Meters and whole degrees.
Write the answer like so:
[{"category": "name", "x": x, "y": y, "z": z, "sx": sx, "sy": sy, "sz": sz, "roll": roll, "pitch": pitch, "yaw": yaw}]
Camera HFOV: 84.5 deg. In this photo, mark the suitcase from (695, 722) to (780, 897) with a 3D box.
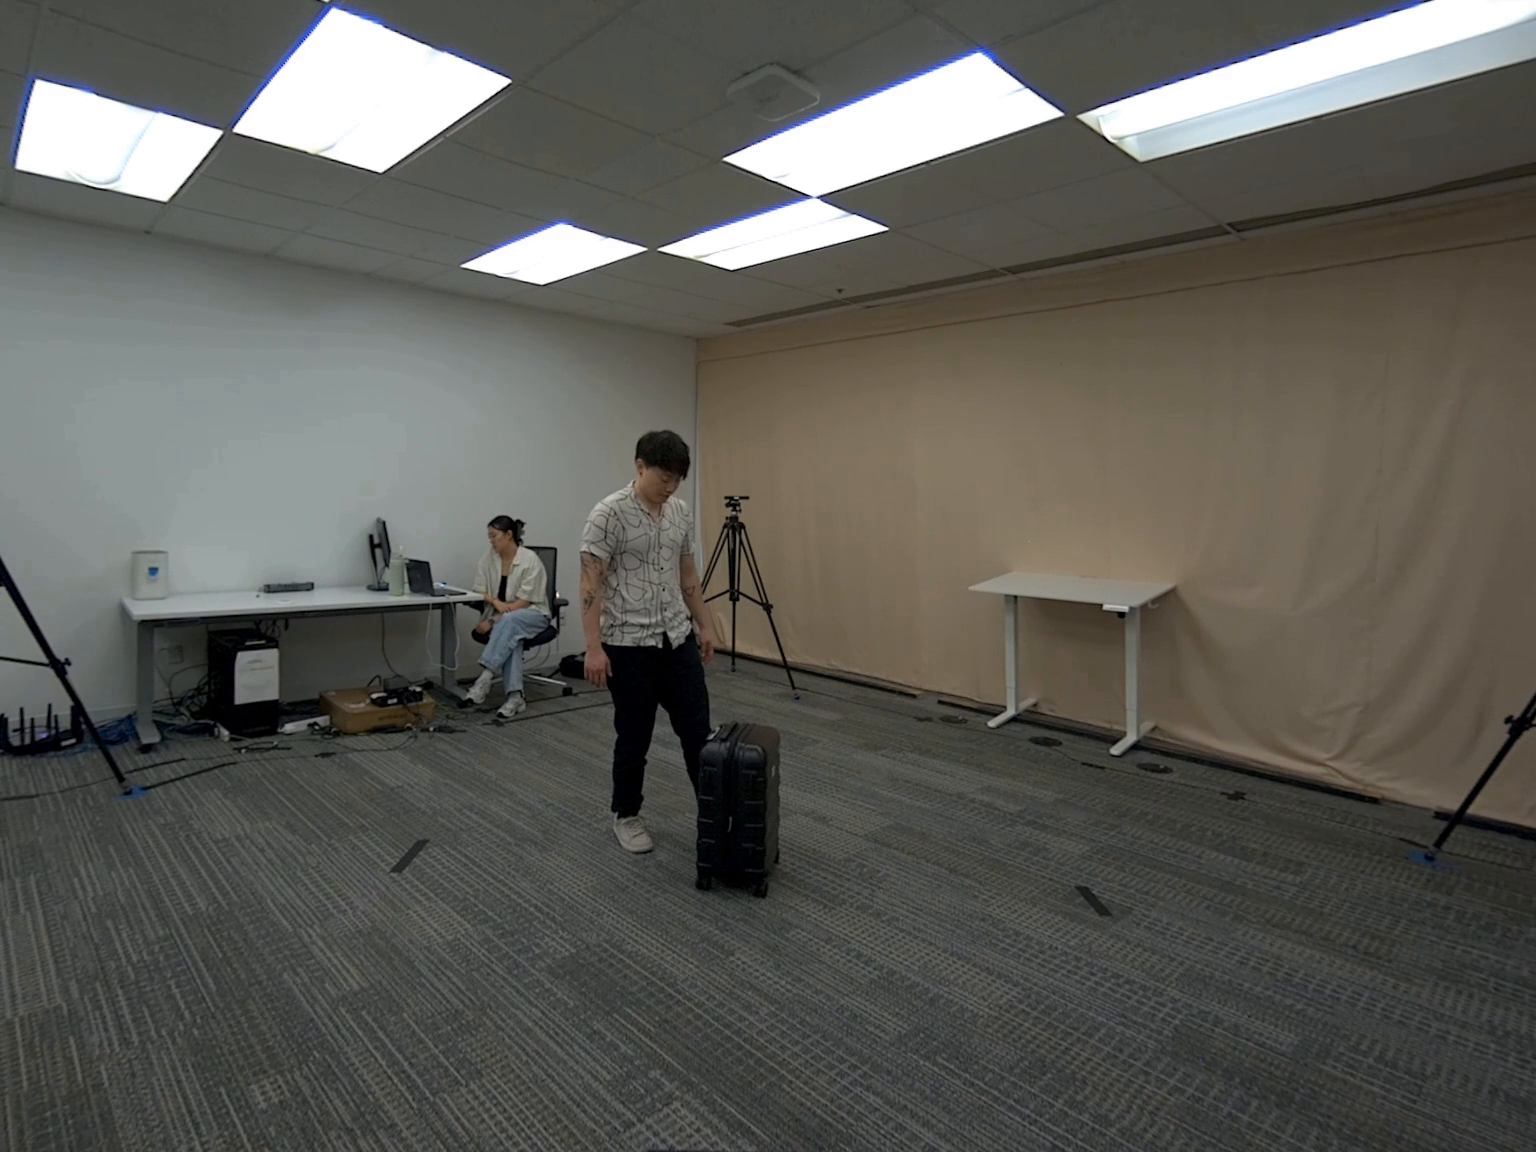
[{"category": "suitcase", "x": -0.106, "y": 0.829, "z": 3.078, "sx": 0.251, "sy": 0.548, "sz": 0.372, "roll": 2, "pitch": 4, "yaw": 11}]
